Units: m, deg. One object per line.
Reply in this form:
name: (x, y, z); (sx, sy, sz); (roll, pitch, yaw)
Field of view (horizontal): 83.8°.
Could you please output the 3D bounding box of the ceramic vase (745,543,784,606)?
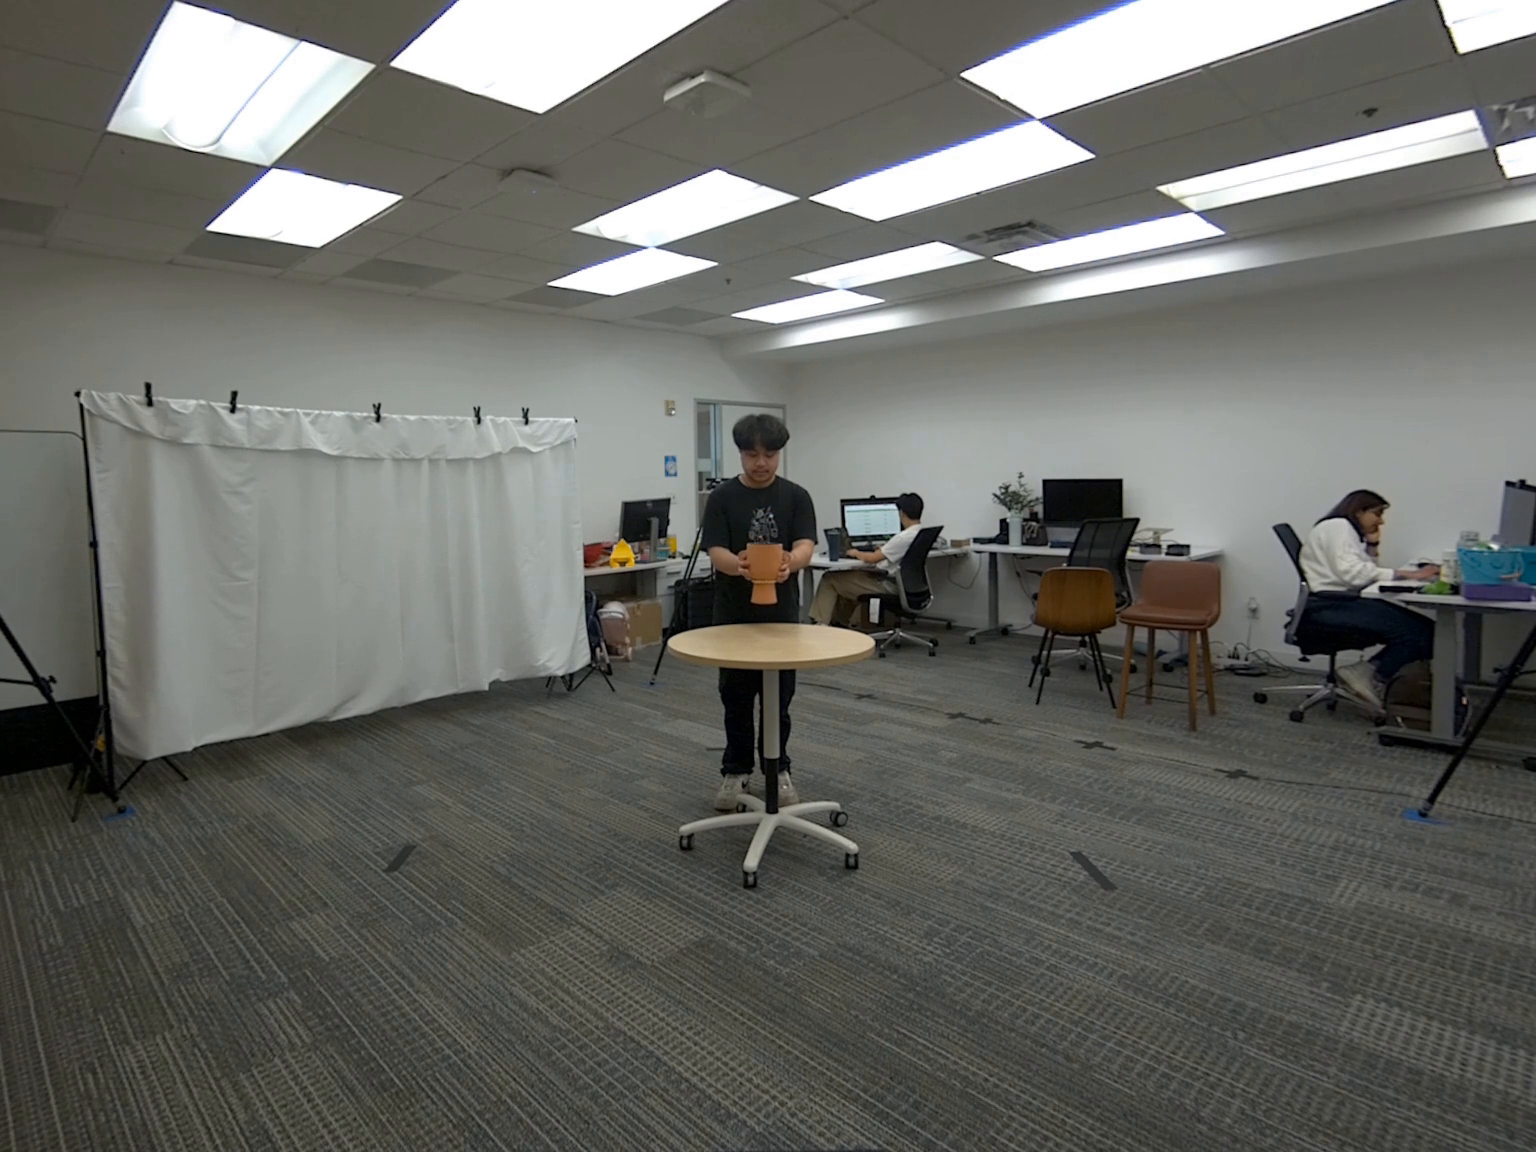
ceramic vase: (-0.021, -0.008, 3.233); (0.164, 0.219, 0.131); (4, 5, 41)
